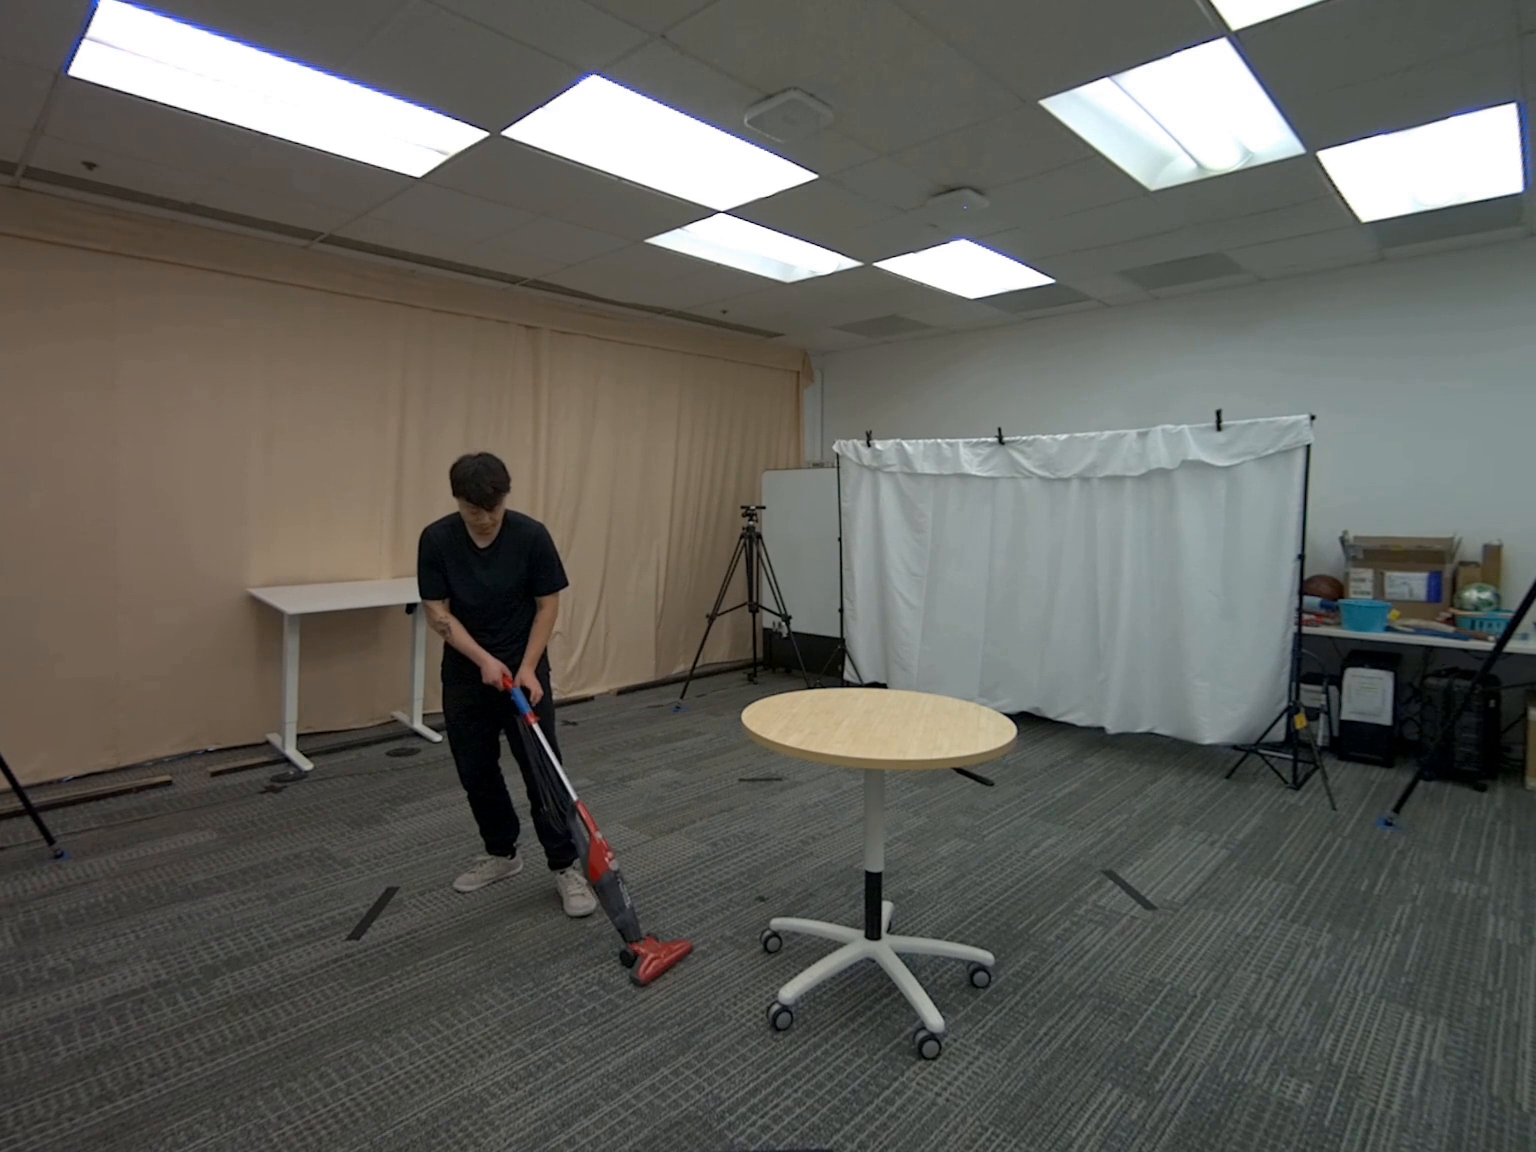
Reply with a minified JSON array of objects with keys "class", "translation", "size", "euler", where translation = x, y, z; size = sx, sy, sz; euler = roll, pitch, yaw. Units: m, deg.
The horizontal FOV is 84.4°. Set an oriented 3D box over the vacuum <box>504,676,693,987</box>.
[{"class":"vacuum","translation":[-0.634,0.760,2.742],"size":[0.145,1.072,0.245],"euler":[-43,-21,21]}]
